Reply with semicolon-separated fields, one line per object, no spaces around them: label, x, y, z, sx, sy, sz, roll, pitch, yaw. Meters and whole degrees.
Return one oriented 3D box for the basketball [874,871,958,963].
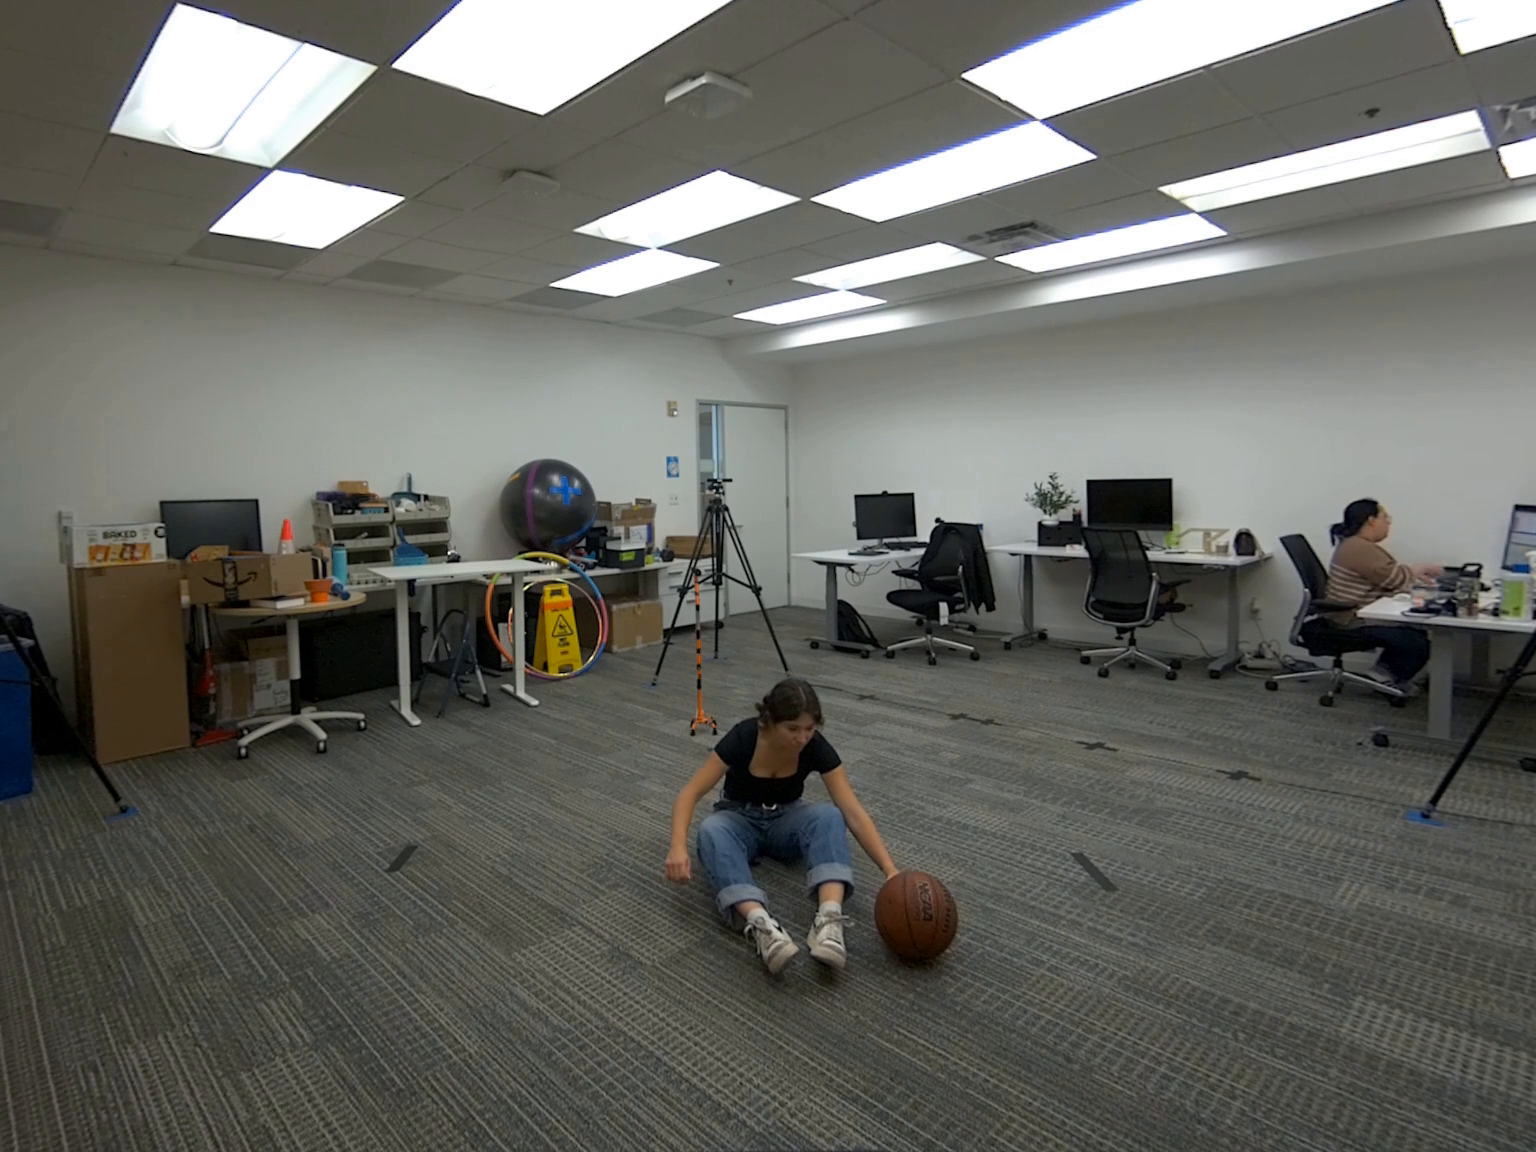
basketball;0.439;0.988;2.486;0.236;0.235;0.237;-1;5;-2
